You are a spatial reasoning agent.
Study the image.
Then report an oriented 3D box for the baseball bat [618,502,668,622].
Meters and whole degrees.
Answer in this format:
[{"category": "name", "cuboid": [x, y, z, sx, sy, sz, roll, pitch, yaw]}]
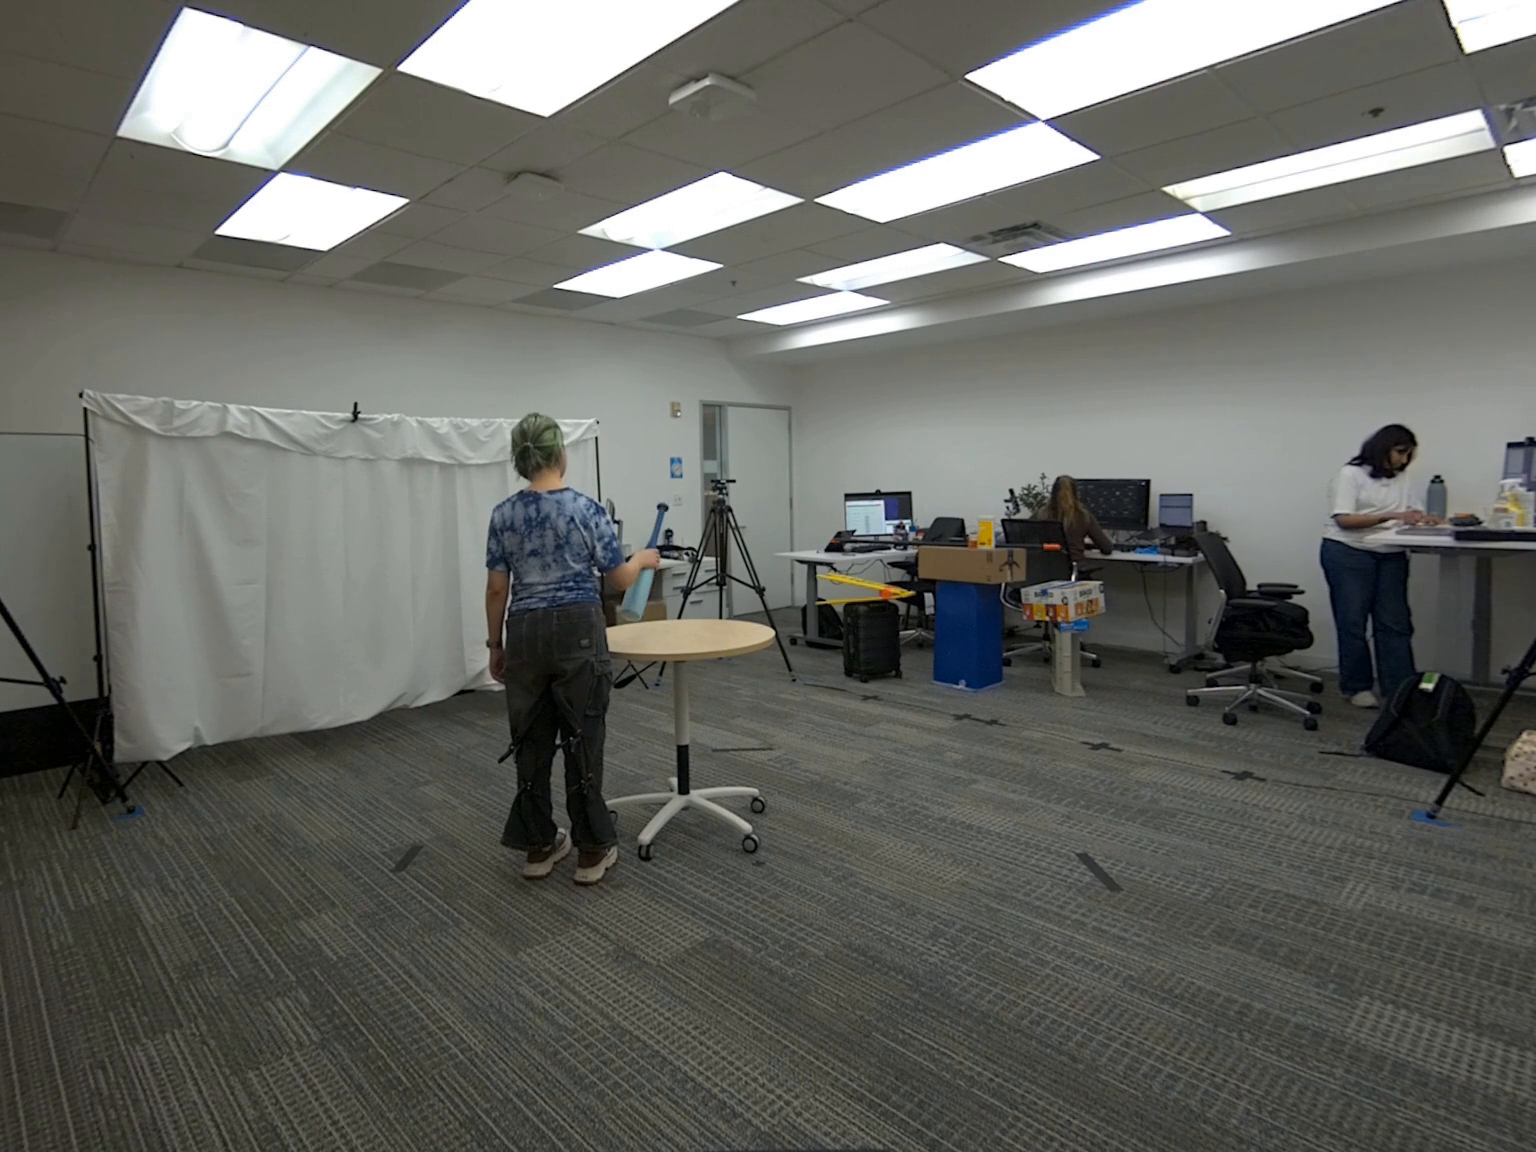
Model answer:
[{"category": "baseball bat", "cuboid": [-0.484, -0.062, 3.408, 0.089, 0.554, 0.087, 8, -34, 3]}]
